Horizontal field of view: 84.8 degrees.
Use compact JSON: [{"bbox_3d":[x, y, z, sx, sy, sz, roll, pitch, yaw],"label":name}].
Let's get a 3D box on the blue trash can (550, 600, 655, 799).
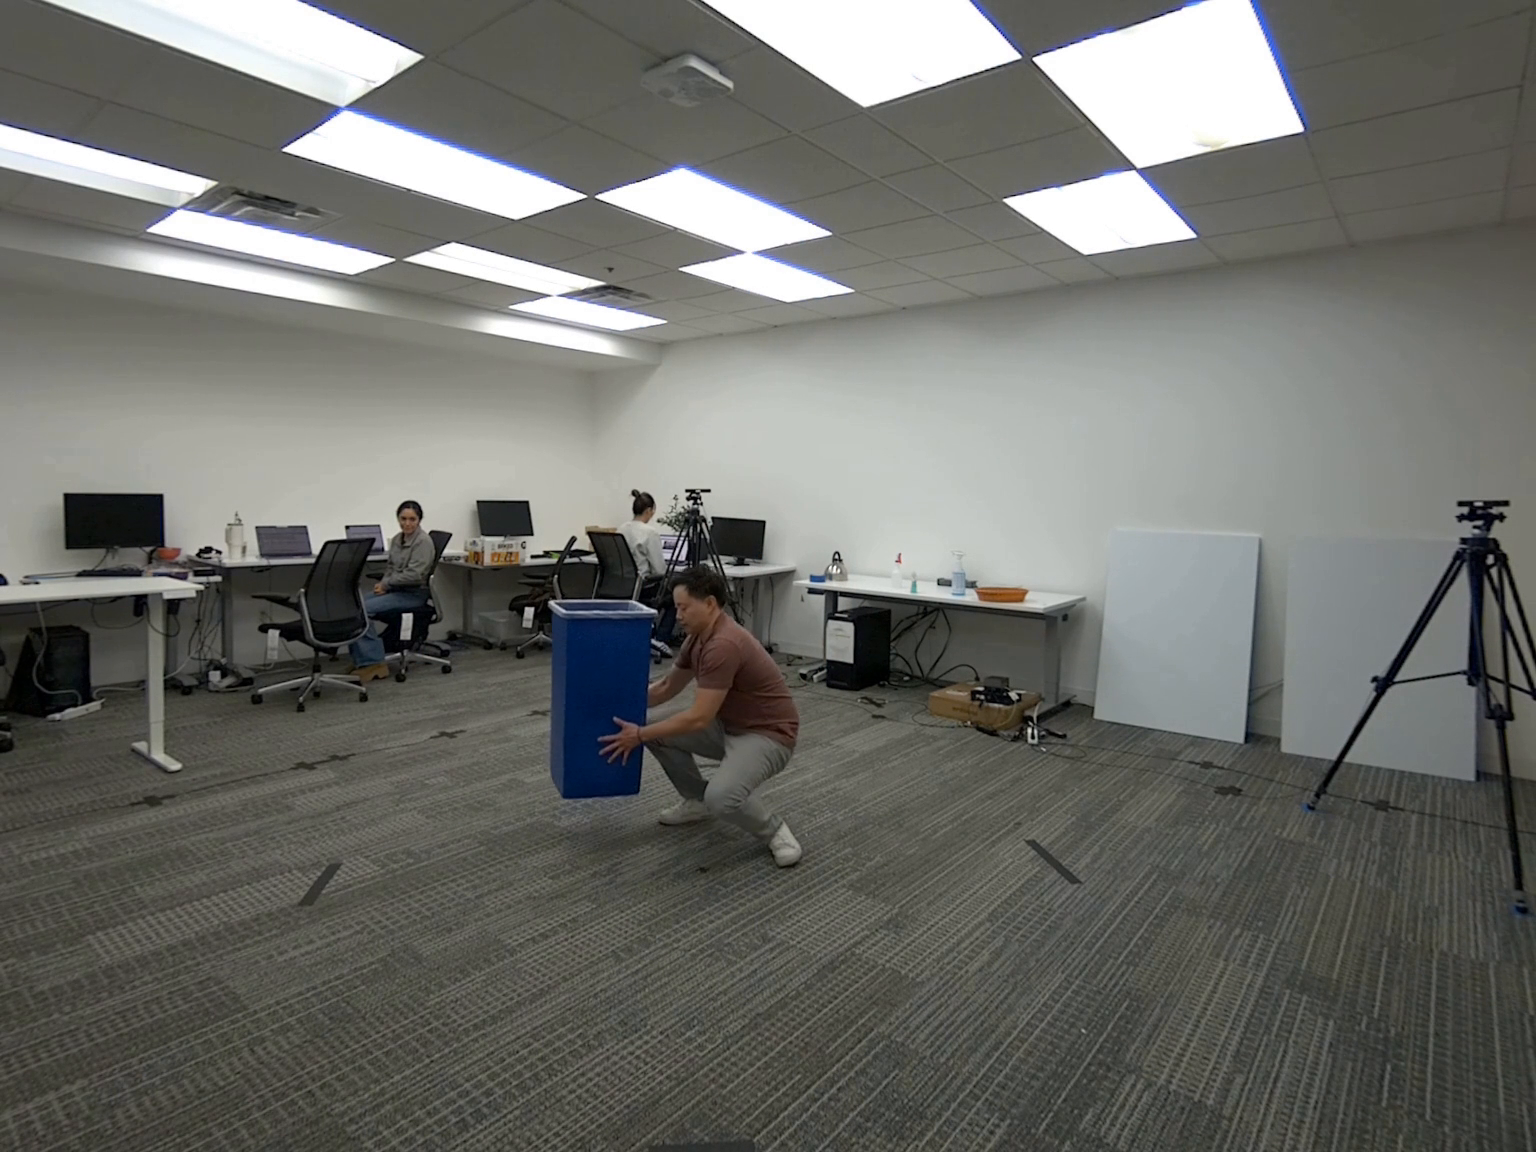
[{"bbox_3d":[-0.687,0.466,3.363,0.366,0.712,0.387,2,2,-23],"label":"blue trash can"}]
